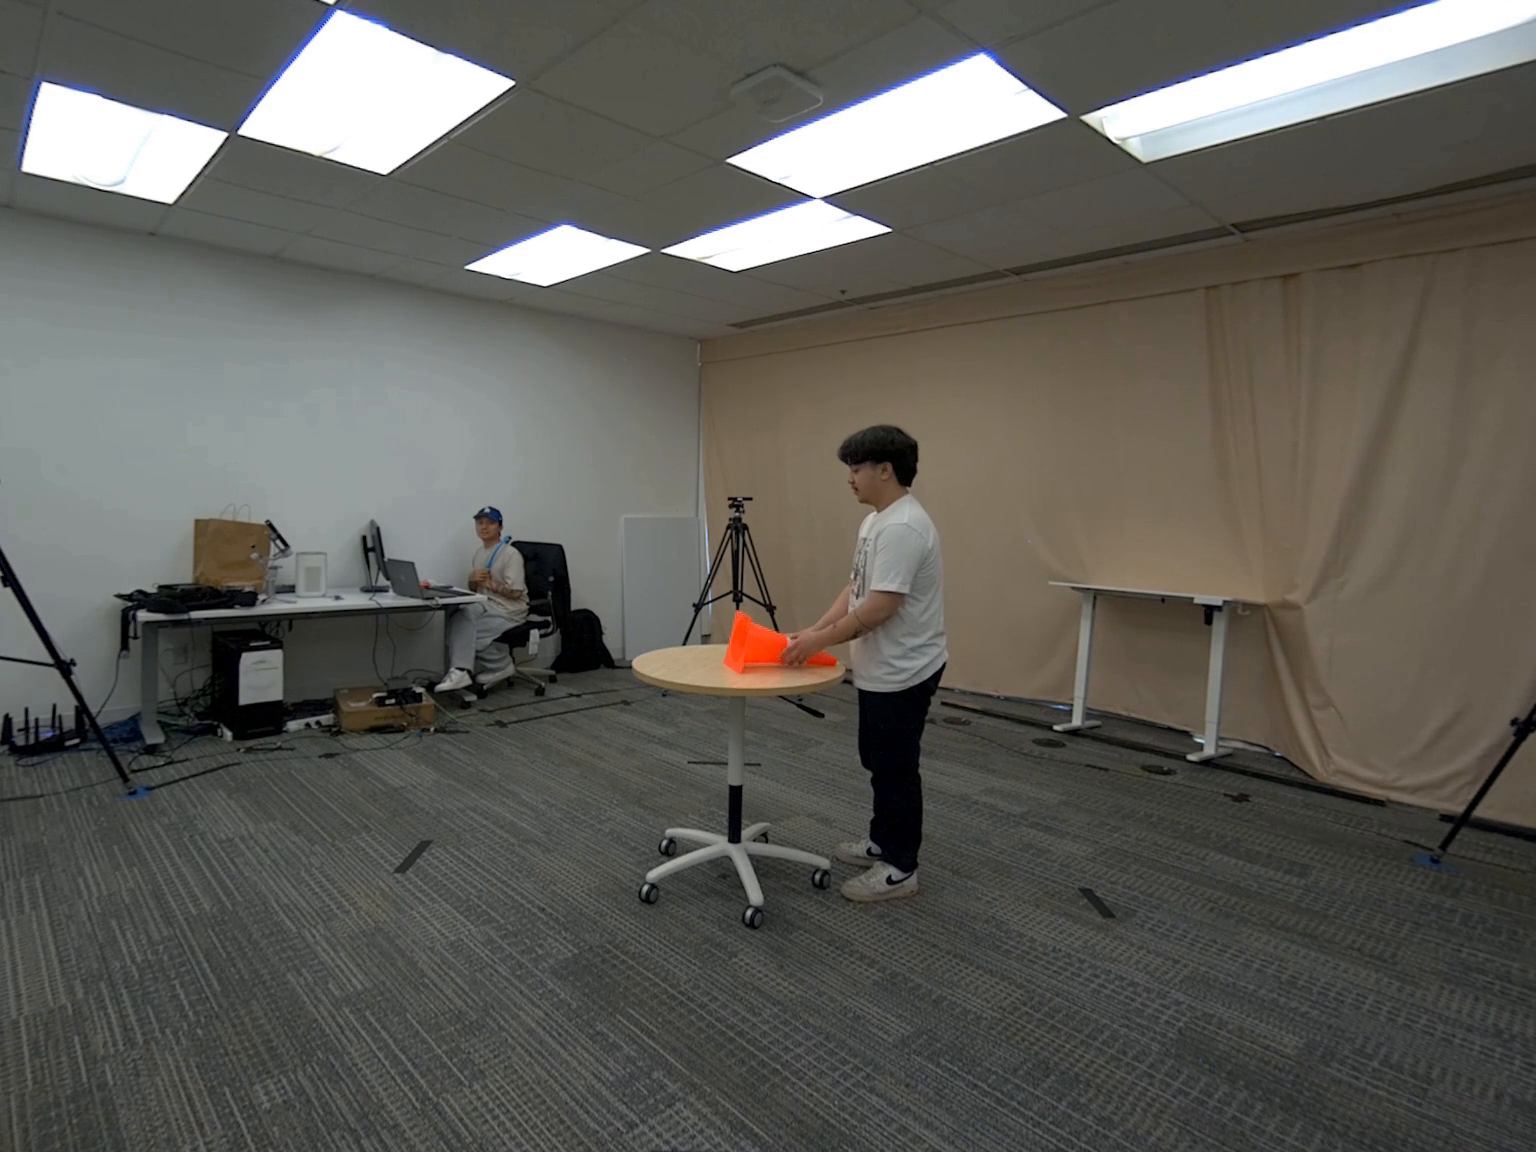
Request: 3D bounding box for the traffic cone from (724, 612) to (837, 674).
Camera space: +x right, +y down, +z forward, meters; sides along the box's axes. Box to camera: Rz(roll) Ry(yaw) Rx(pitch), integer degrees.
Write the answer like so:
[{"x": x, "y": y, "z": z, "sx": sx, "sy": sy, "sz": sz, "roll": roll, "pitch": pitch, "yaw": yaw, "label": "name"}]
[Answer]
[{"x": 0.067, "y": 0.266, "z": 2.994, "sx": 0.379, "sy": 0.205, "sz": 0.206, "roll": 11, "pitch": 0, "yaw": -13, "label": "traffic cone"}]
